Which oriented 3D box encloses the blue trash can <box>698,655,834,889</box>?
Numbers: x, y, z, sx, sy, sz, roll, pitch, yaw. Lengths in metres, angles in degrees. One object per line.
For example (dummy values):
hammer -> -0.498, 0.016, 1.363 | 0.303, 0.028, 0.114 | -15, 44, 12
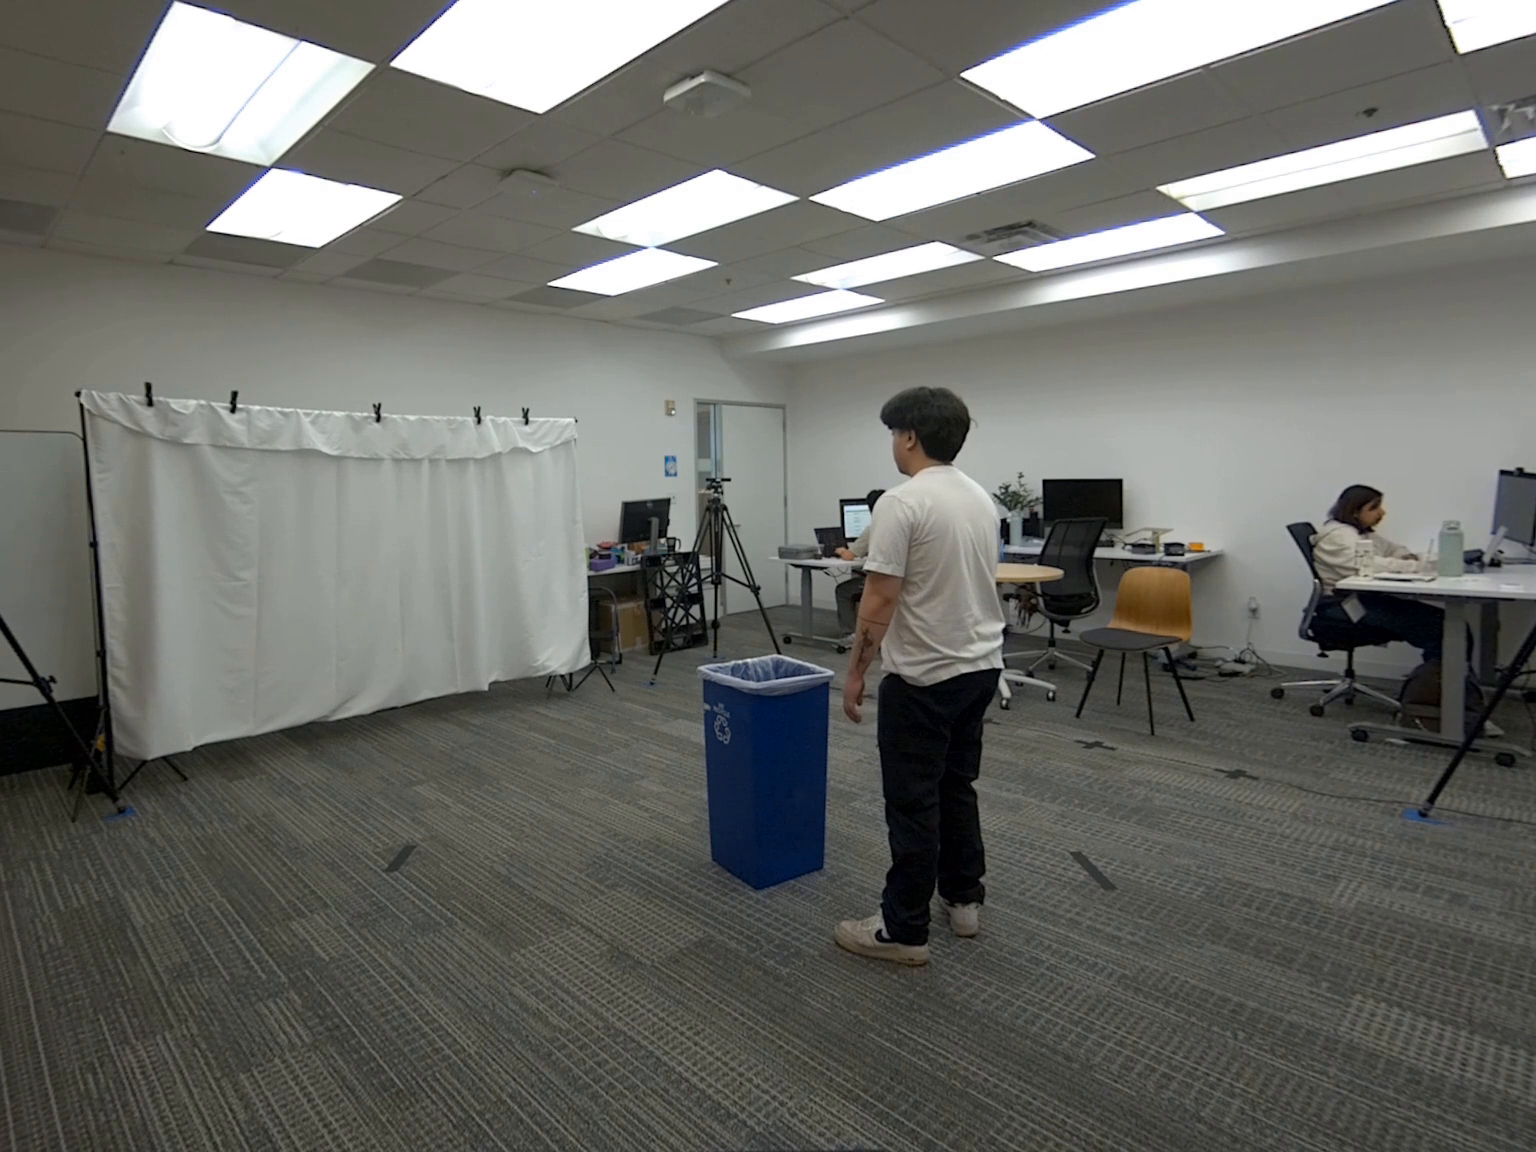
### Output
blue trash can -> -0.001, 0.688, 3.071 | 0.368, 0.711, 0.385 | -4, 5, -35
